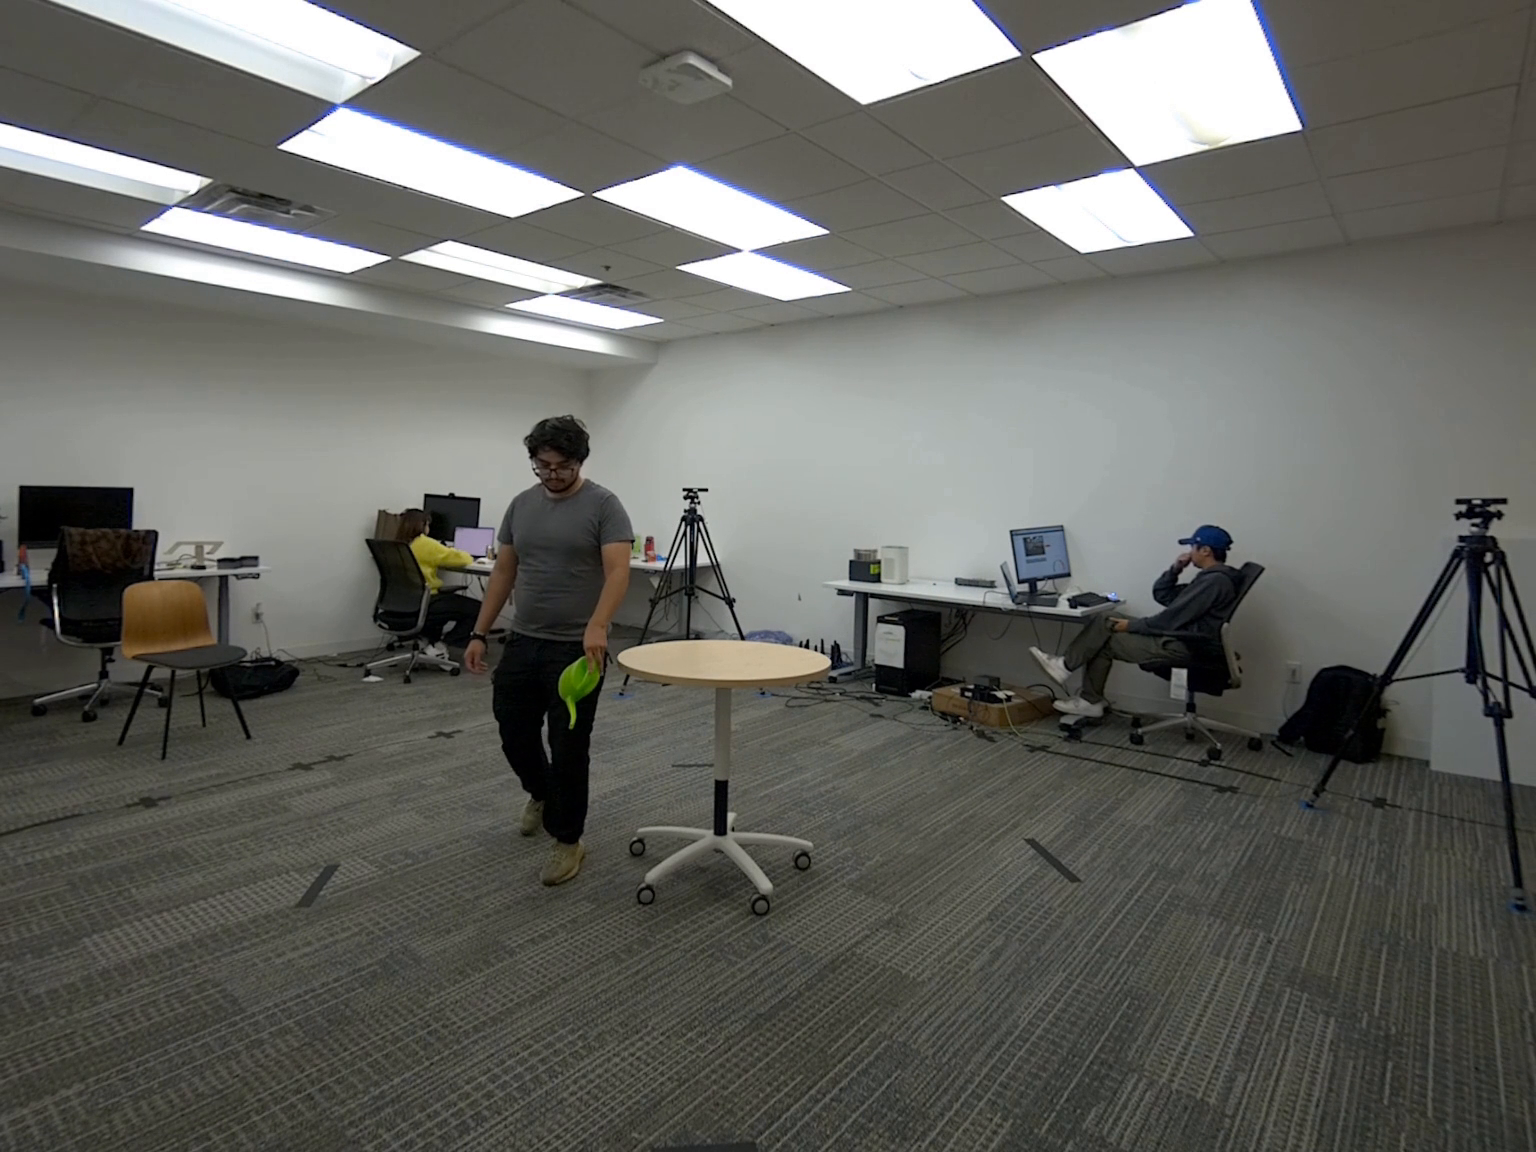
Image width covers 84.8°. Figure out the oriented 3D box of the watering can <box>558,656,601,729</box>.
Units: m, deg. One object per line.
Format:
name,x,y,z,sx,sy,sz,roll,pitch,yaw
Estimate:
watering can,-0.628,0.351,2.702,0.097,0.280,0.178,40,-37,-11
